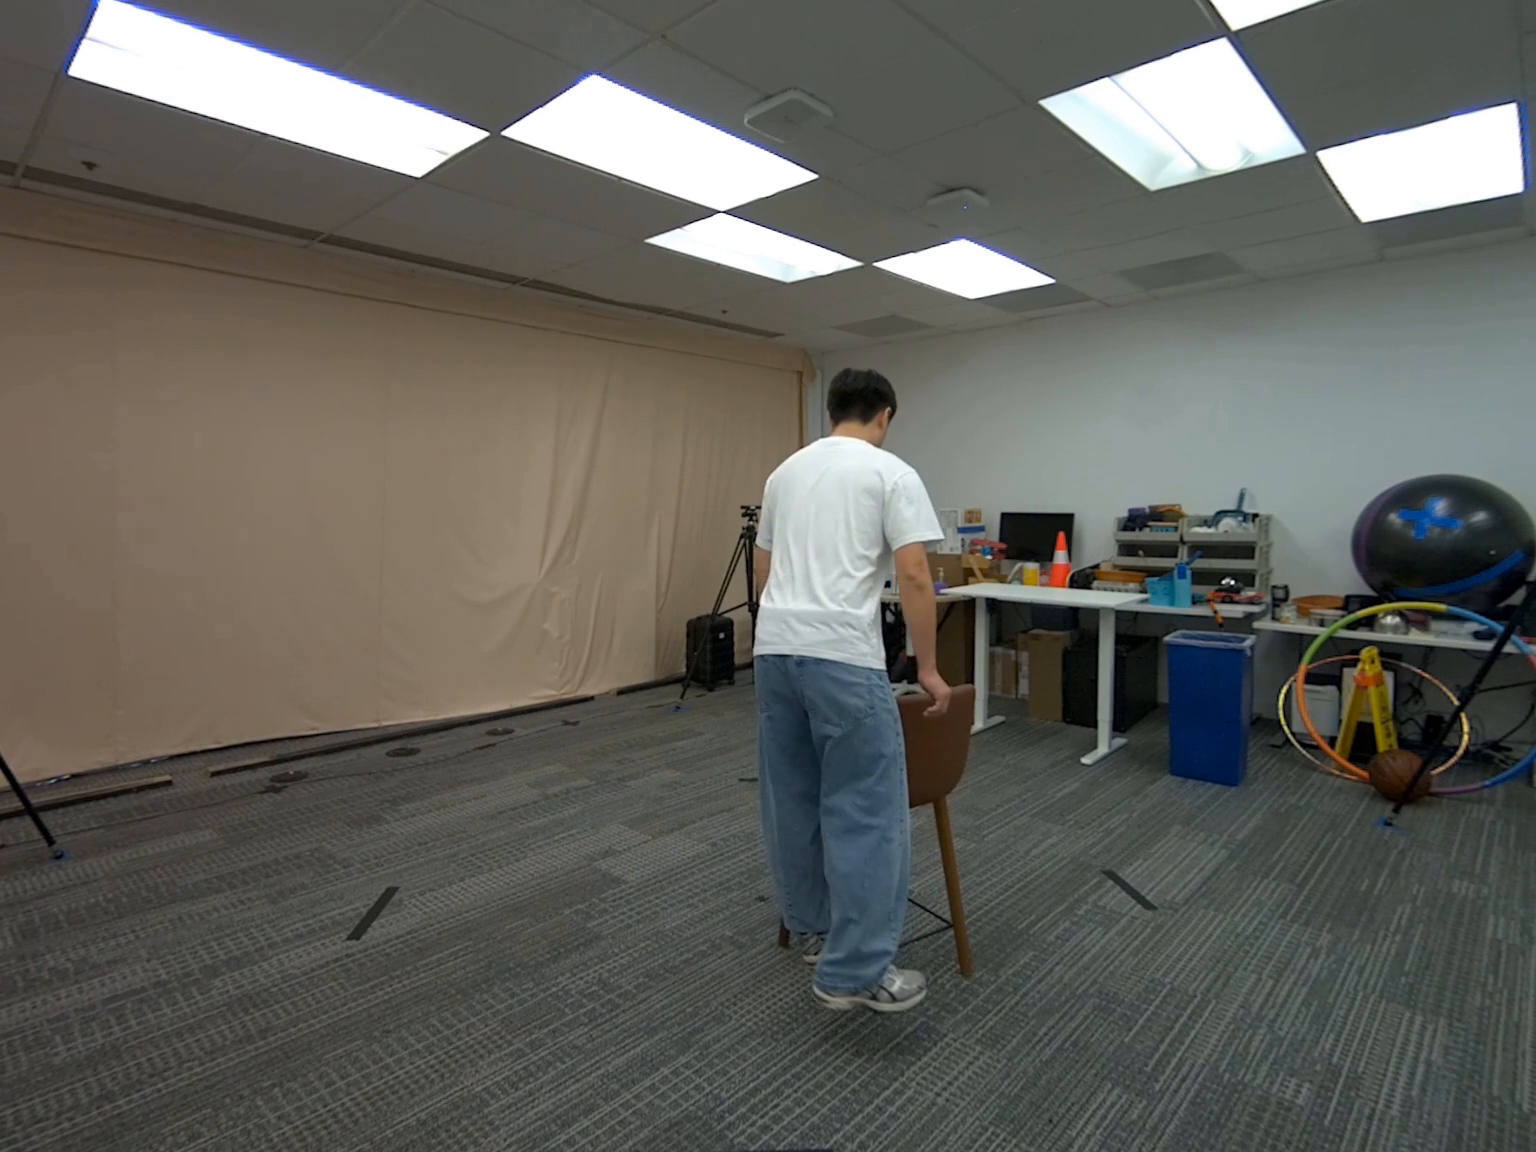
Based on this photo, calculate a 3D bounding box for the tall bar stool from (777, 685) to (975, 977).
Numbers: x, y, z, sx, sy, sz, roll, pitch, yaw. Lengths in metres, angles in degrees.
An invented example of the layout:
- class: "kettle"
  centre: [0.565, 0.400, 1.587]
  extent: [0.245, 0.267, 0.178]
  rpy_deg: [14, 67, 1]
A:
- class: "tall bar stool"
  centre: [0.340, 0.743, 2.567]
  extent: [0.443, 0.887, 0.482]
  rpy_deg: [-2, 5, -34]
